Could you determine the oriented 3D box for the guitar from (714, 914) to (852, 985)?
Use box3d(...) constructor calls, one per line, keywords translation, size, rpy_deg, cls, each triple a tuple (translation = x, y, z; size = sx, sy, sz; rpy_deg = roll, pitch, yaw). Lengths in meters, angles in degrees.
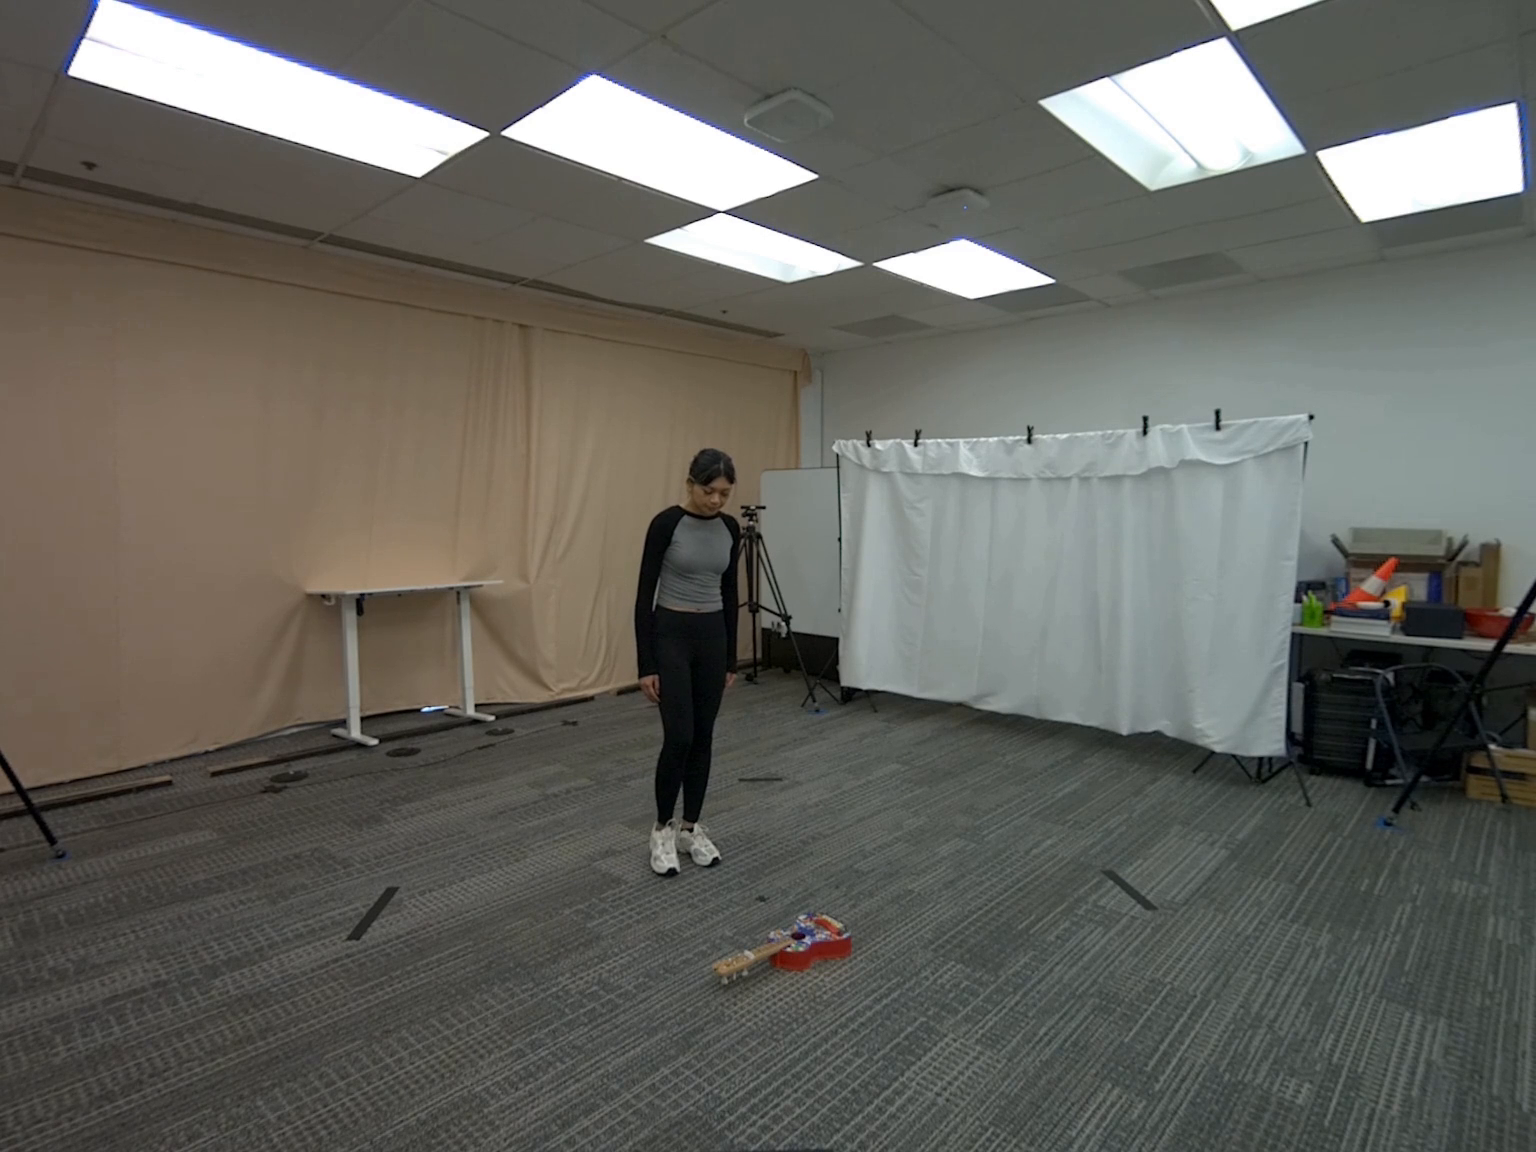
box3d(translation=(0.027, 1.141, 2.589), size=(0.485, 0.070, 0.198), rpy_deg=(-2, 5, -29), cls="guitar")
